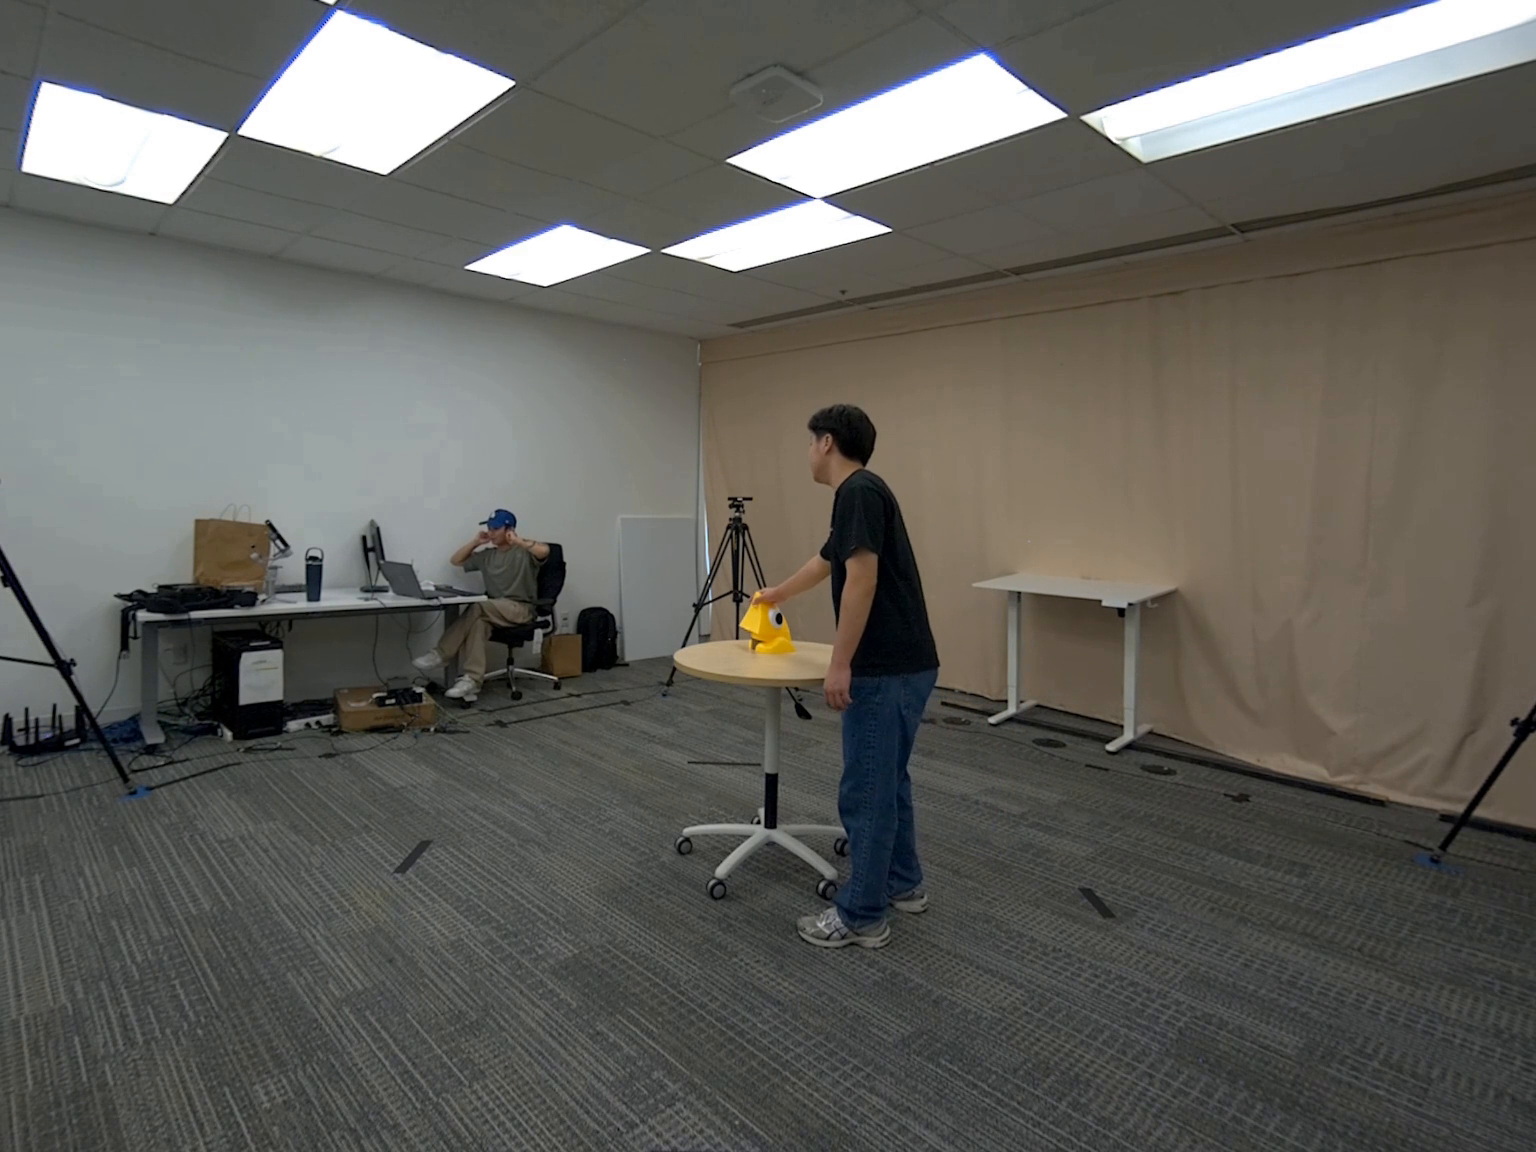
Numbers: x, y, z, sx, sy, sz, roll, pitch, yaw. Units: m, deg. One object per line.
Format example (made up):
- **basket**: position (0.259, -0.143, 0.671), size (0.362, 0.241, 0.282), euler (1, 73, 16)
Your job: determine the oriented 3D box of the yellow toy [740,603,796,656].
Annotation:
- **yellow toy**: position (-0.002, 0.177, 3.357), size (0.190, 0.230, 0.208), euler (-1, 4, -22)
